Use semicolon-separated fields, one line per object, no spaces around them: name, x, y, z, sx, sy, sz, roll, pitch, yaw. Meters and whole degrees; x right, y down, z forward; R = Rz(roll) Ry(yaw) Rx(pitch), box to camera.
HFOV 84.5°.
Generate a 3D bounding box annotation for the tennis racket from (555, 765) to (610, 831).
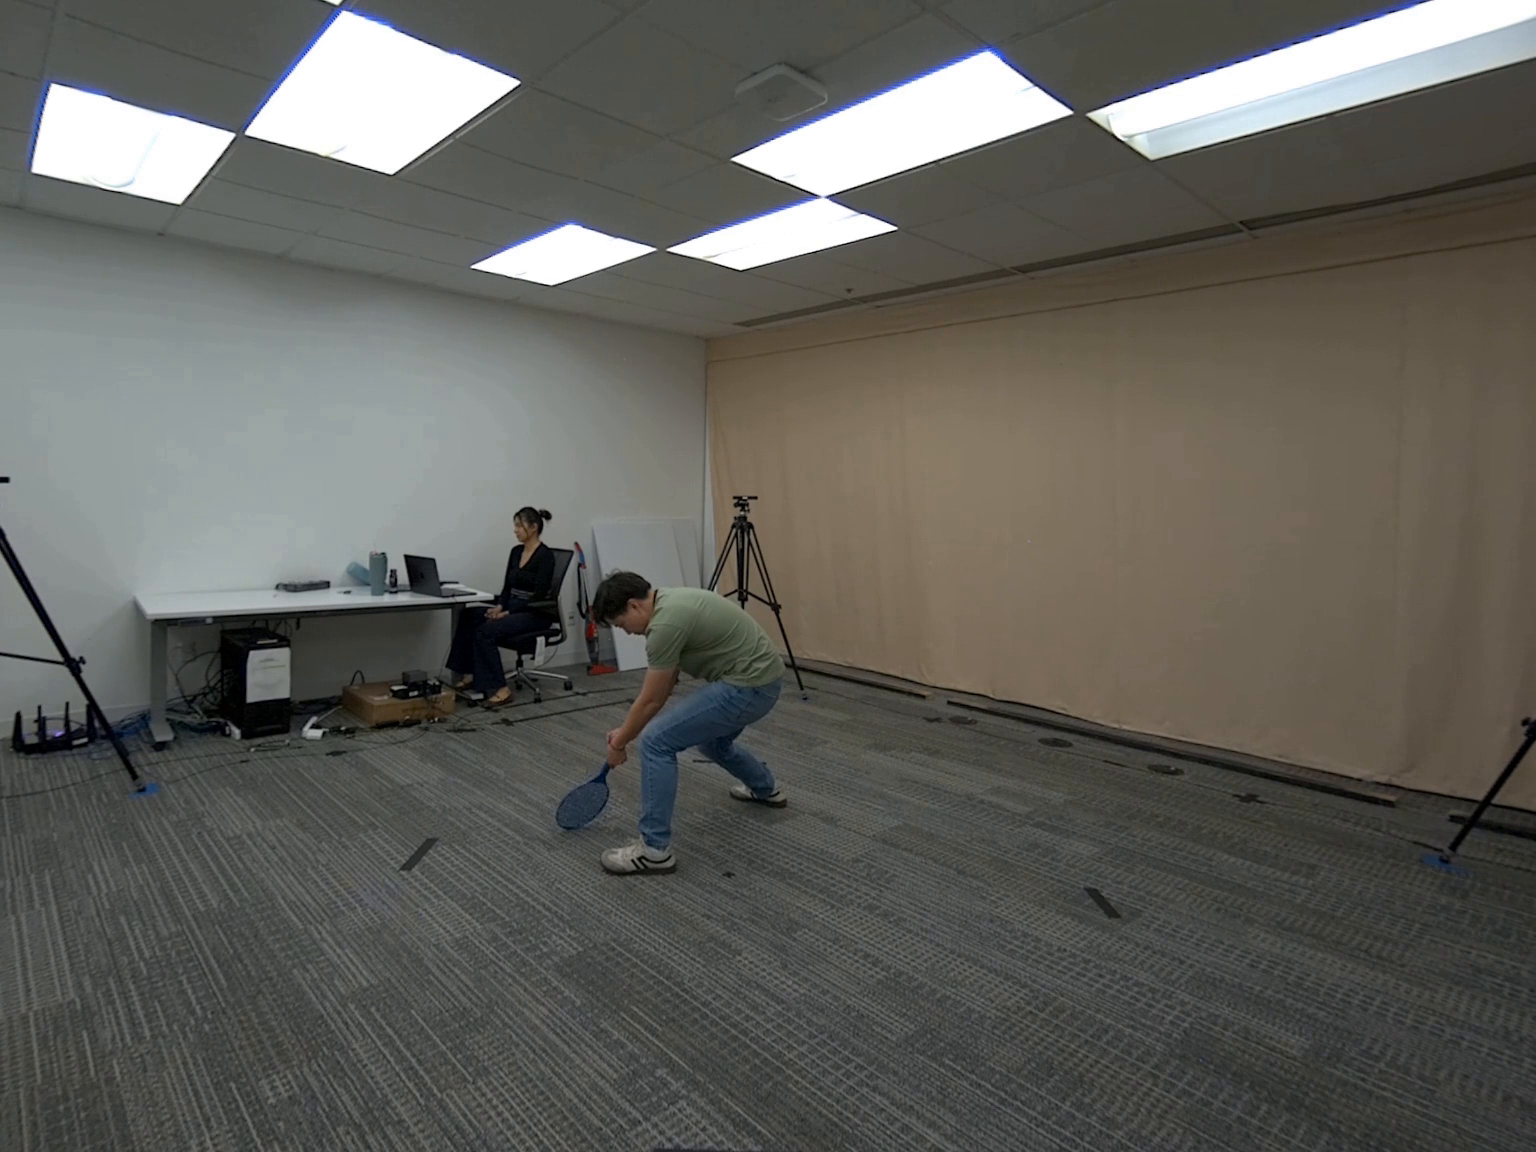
tennis racket;-0.727;0.871;3.430;0.207;0.431;0.033;19;21;-42
